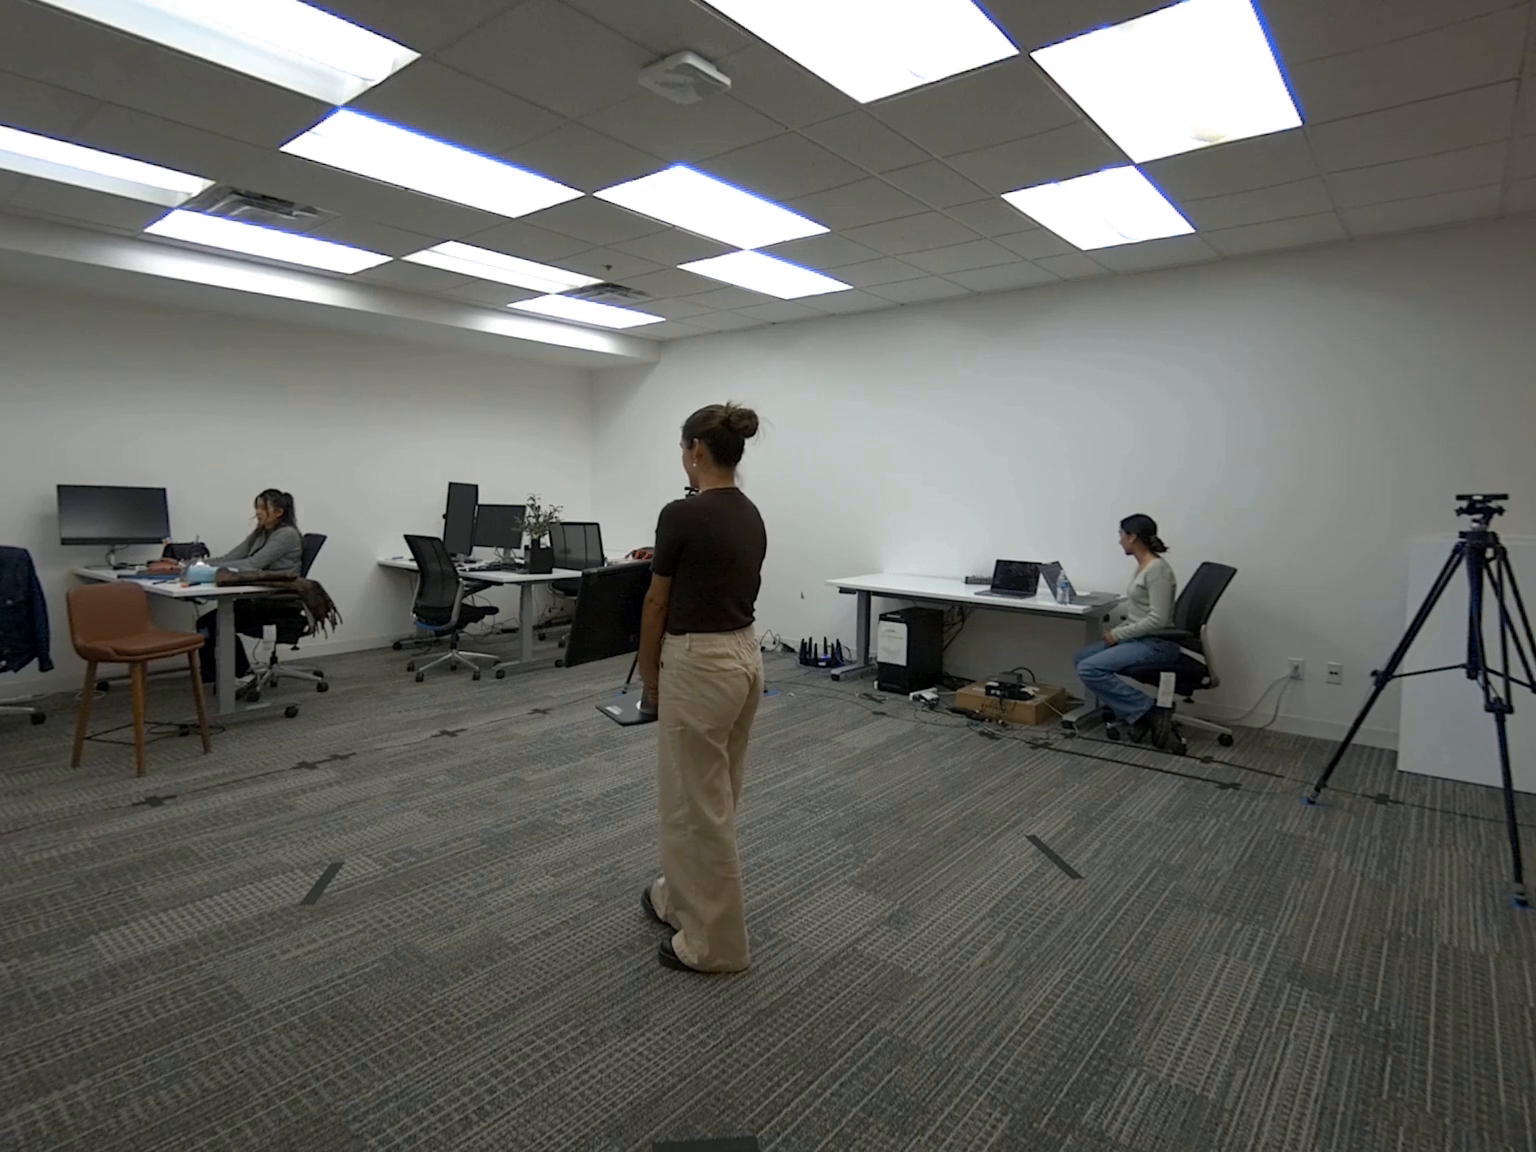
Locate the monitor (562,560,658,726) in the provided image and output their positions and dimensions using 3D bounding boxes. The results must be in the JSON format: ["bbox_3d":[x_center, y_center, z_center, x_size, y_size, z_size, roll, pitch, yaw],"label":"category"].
[{"bbox_3d":[-0.373,0.177,2.615,0.525,0.514,0.195,-11,27,-40],"label":"monitor"}]
